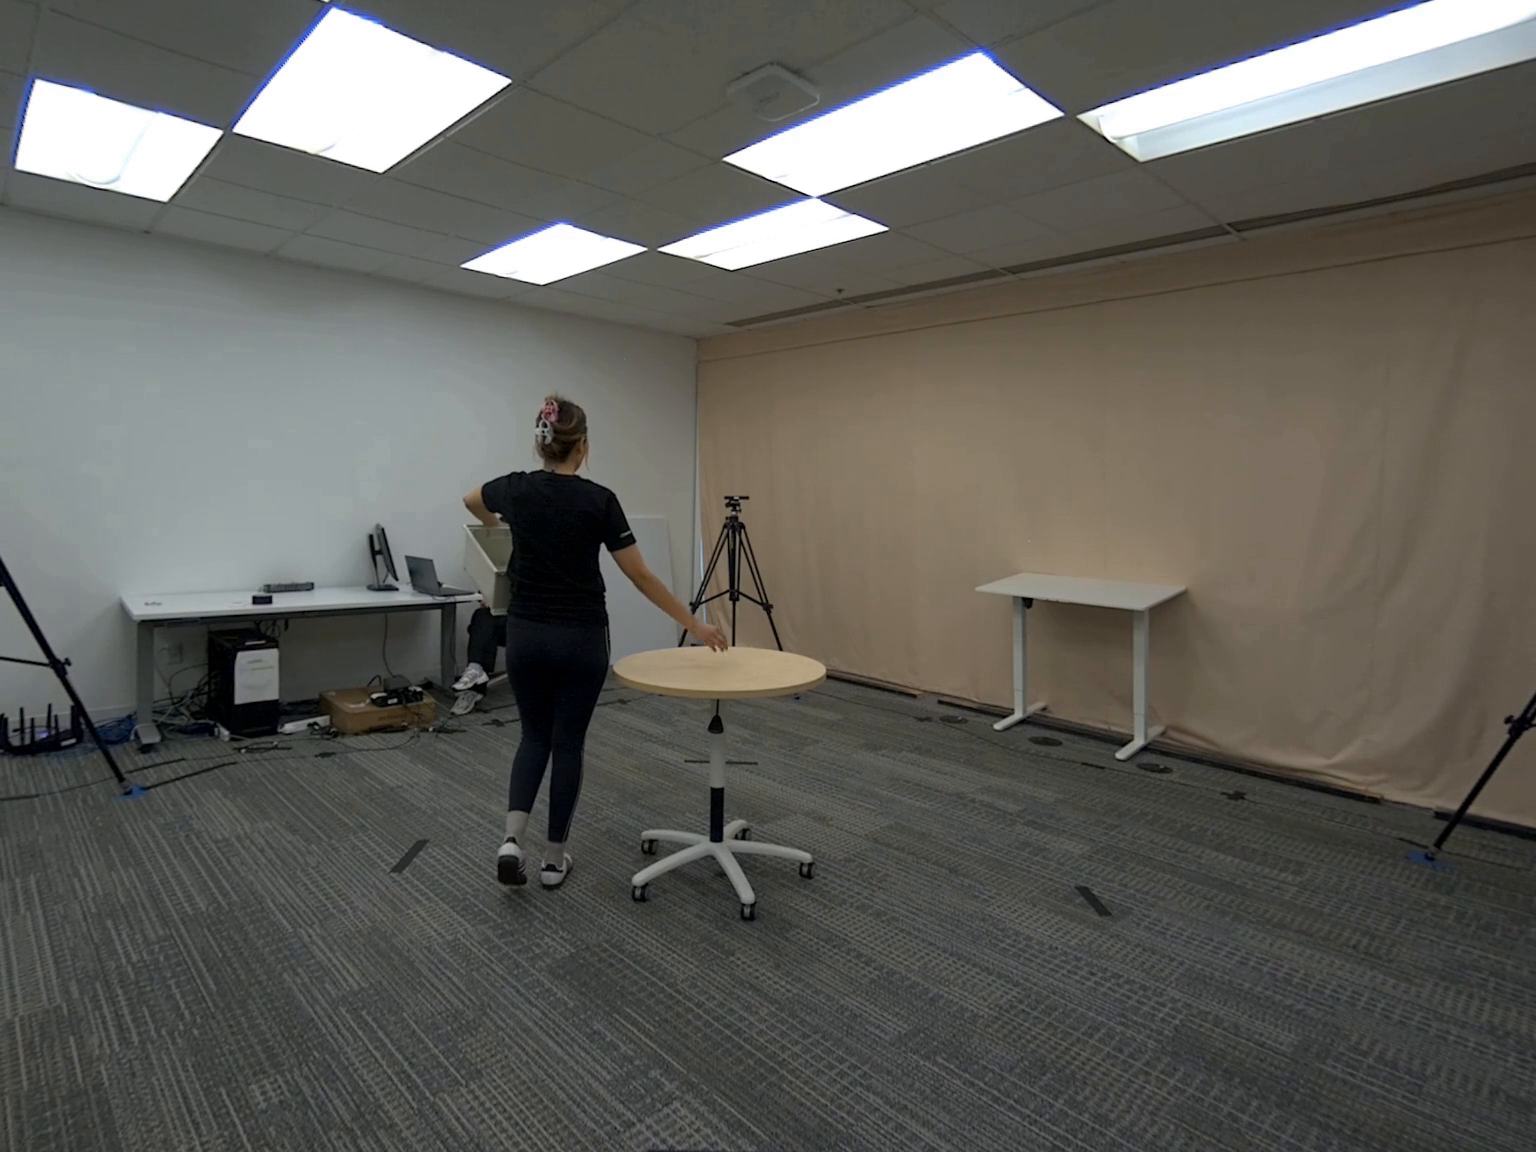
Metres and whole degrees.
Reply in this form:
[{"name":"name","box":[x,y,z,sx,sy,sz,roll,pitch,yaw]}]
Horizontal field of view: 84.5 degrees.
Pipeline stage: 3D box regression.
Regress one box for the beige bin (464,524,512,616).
[{"name":"beige bin","box":[-0.938,-0.037,3.225,0.369,0.187,0.436,-4,27,-34]}]
